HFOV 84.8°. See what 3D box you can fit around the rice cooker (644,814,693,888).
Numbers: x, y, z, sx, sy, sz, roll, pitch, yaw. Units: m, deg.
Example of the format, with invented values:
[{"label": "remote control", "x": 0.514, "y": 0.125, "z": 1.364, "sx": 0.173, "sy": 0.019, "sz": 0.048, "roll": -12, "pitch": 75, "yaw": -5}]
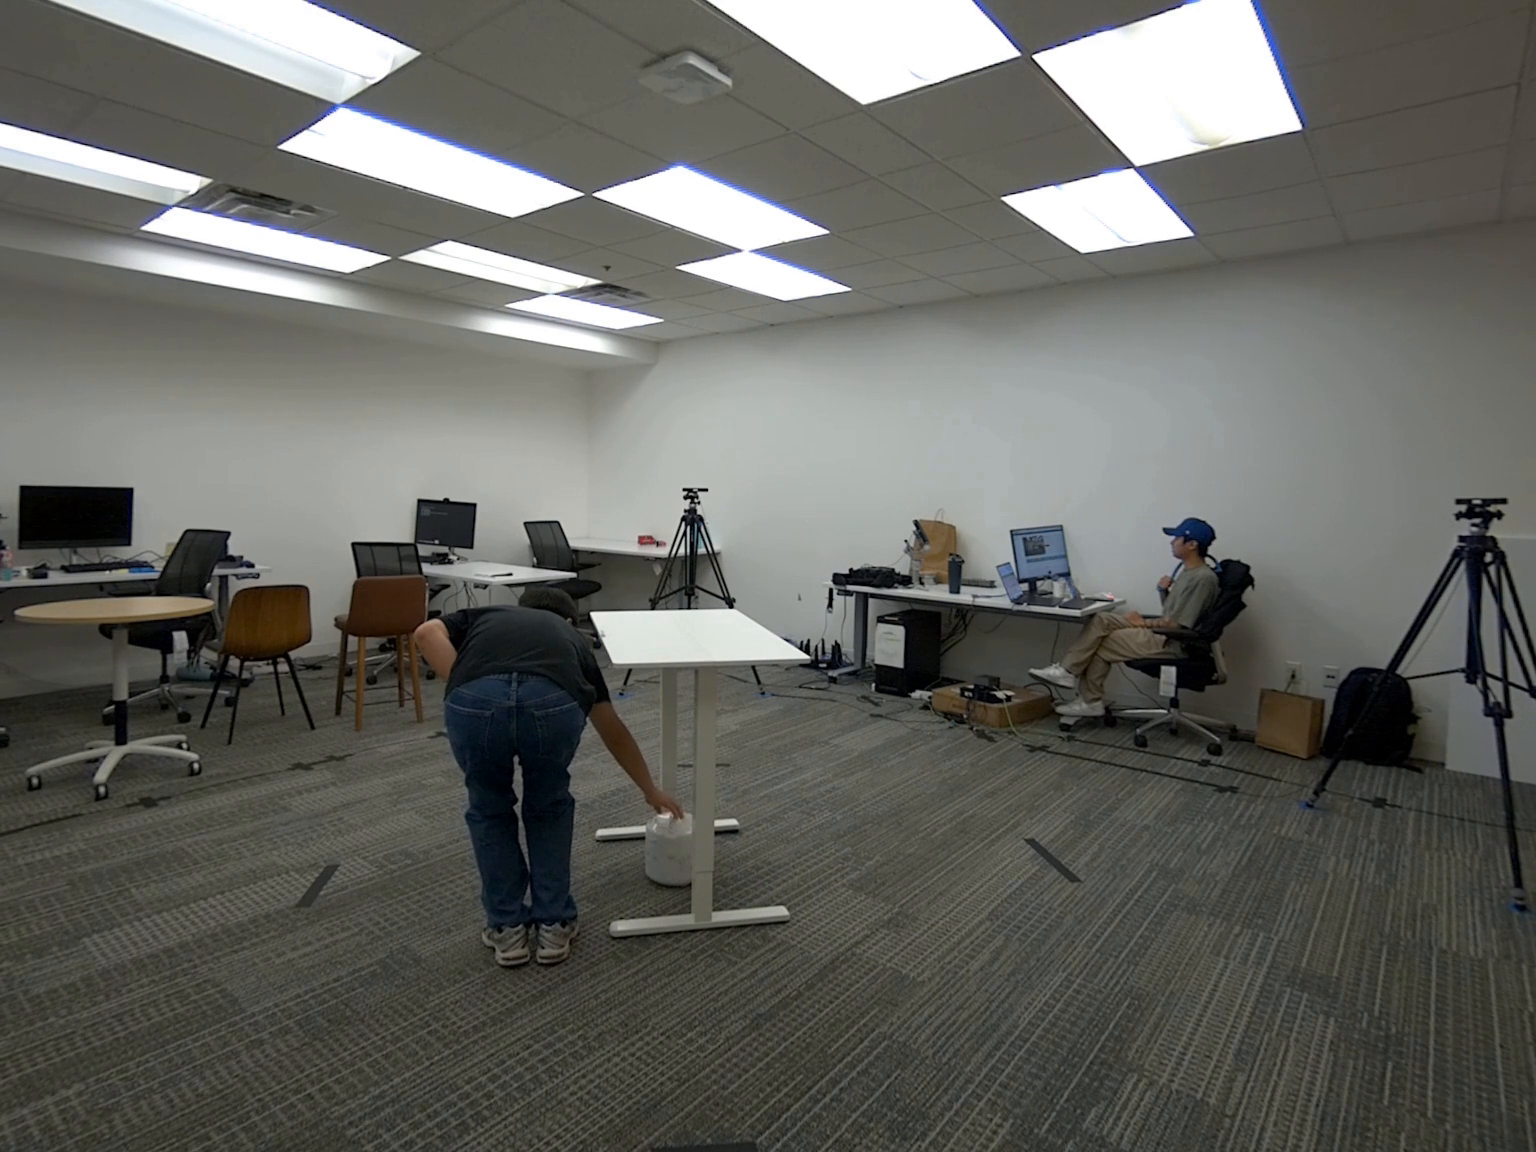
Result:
[{"label": "rice cooker", "x": -0.341, "y": 0.957, "z": 3.044, "sx": 0.219, "sy": 0.232, "sz": 0.220, "roll": 0, "pitch": 4, "yaw": 5}]
